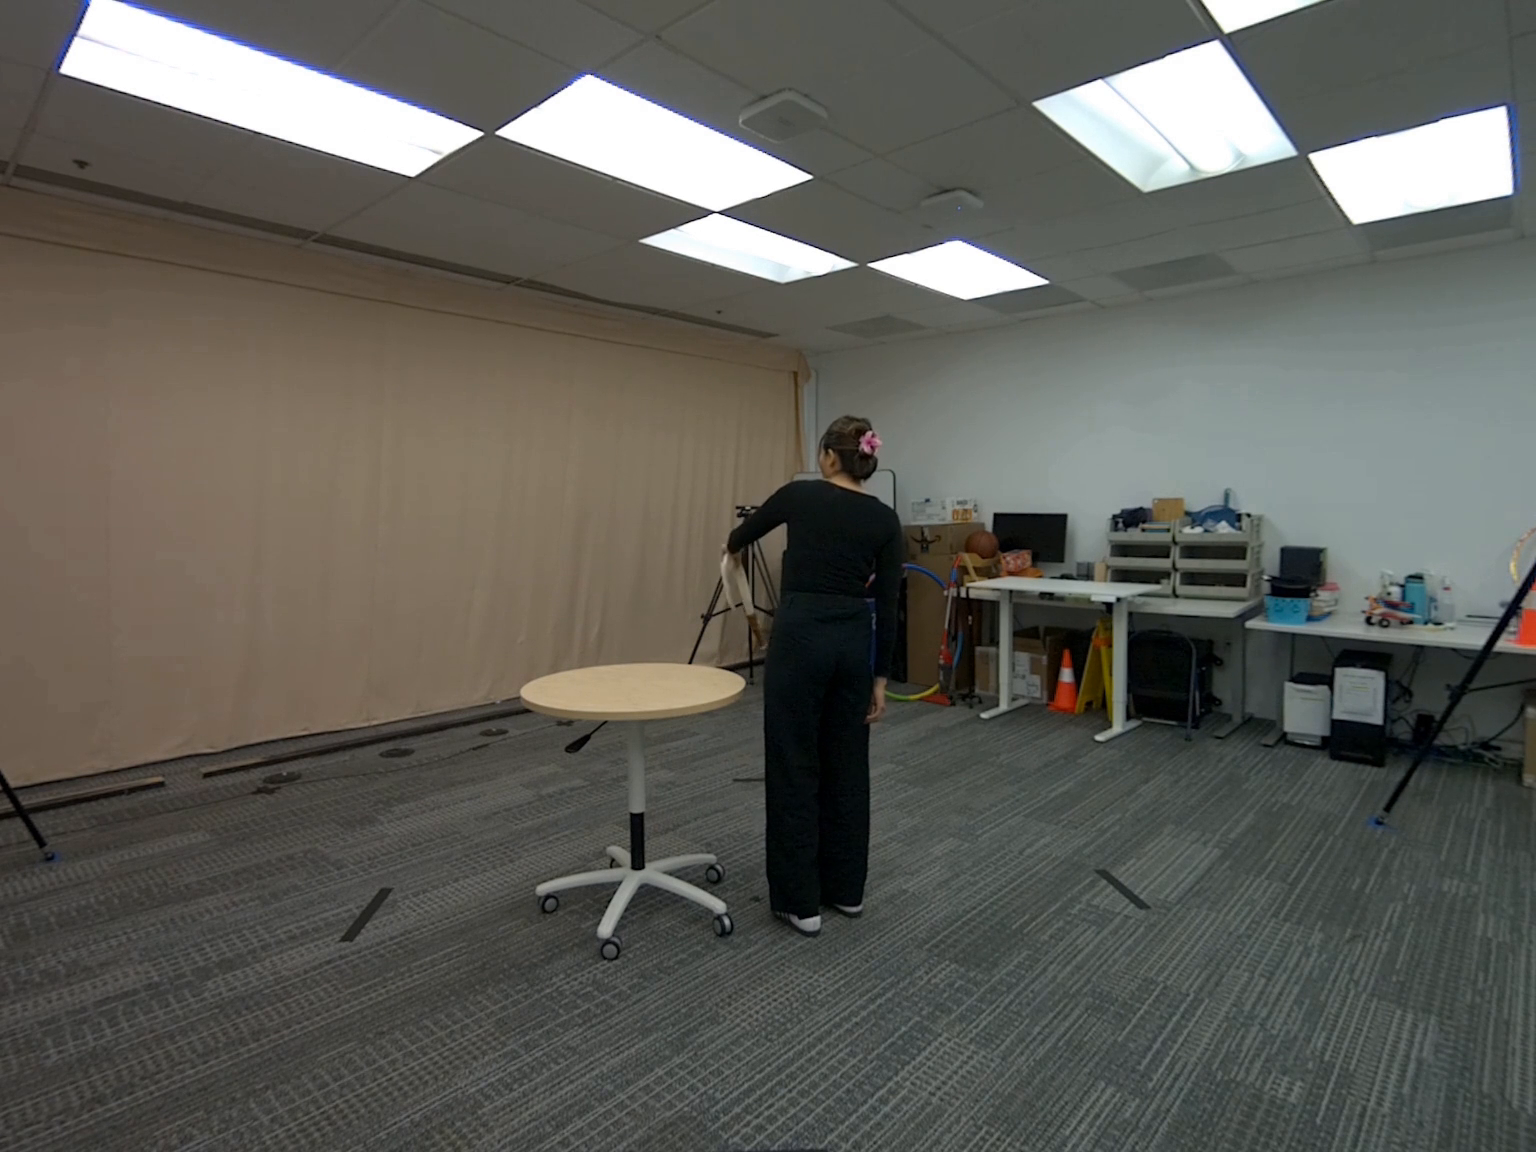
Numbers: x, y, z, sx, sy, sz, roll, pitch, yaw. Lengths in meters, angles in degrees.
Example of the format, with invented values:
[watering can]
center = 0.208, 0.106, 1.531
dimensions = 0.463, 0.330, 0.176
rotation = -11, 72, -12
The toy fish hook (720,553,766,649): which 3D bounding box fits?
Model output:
[toy fish hook]
center = -0.108, 0.134, 3.424
dimensions = 0.049, 0.495, 0.224
rotation = -5, 29, 23
